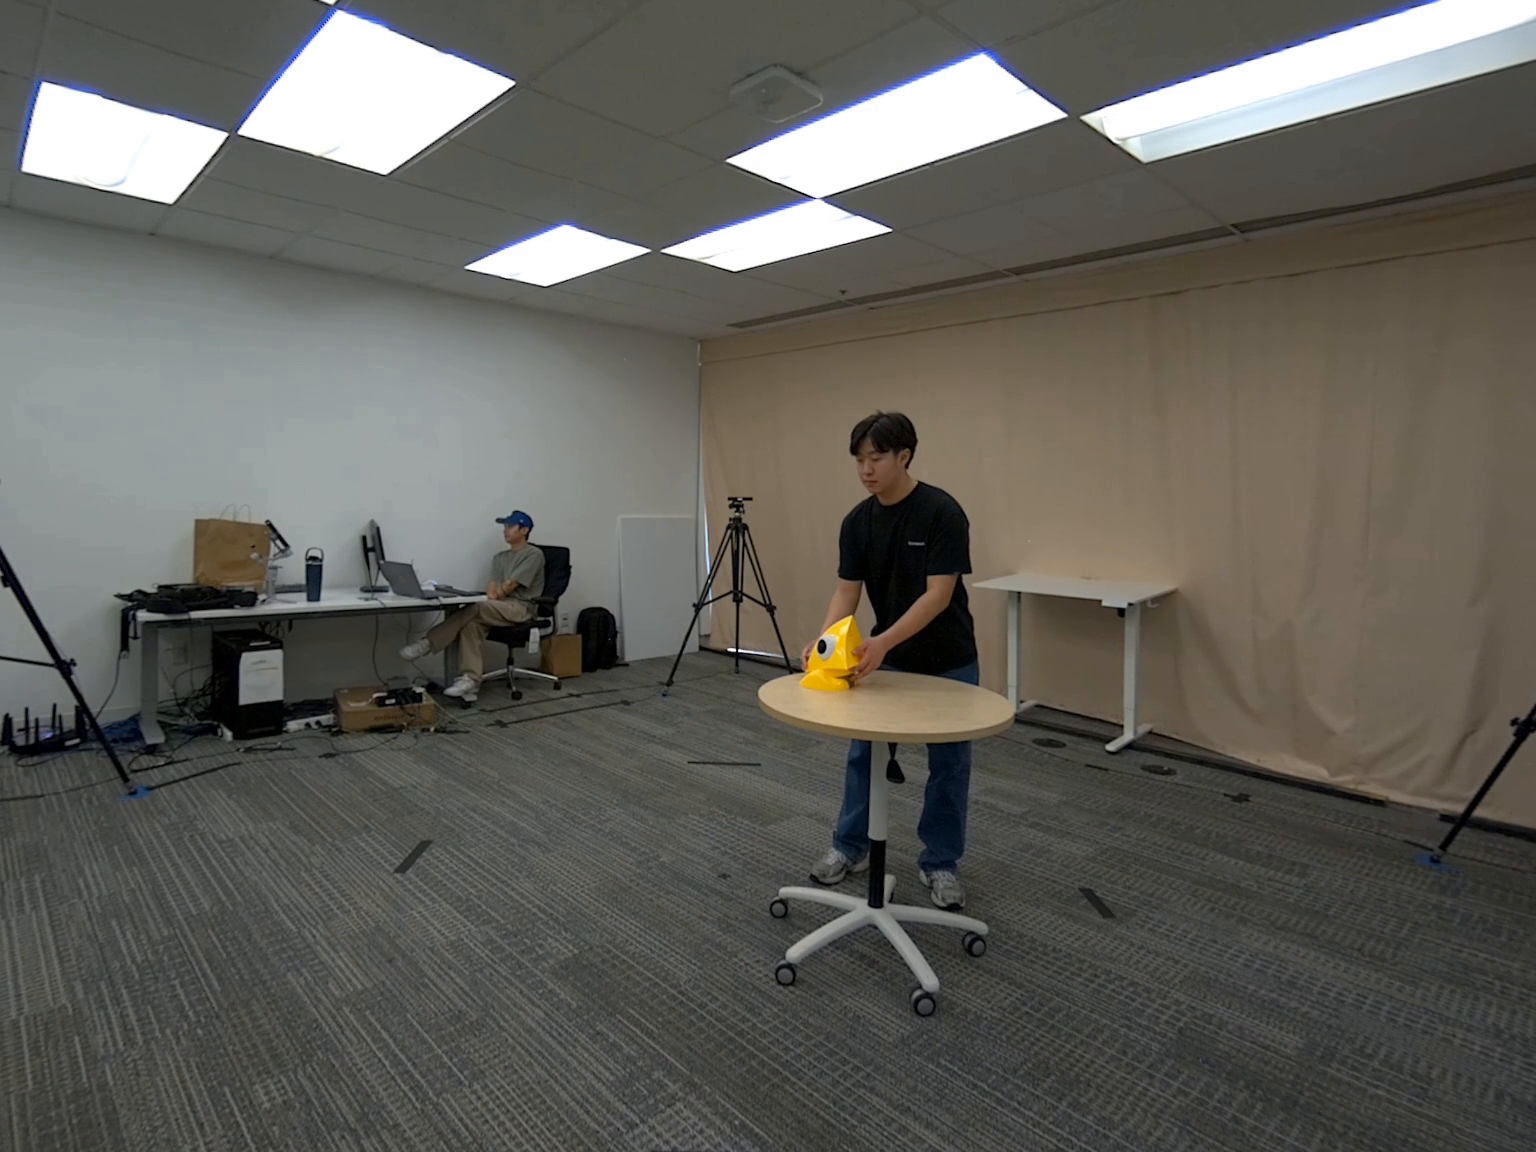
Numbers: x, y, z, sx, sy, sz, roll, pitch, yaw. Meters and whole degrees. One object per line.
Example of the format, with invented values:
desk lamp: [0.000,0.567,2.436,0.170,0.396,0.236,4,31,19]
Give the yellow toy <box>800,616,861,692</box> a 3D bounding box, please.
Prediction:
yellow toy: [0.211,0.240,2.715,0.197,0.230,0.201,4,6,29]
